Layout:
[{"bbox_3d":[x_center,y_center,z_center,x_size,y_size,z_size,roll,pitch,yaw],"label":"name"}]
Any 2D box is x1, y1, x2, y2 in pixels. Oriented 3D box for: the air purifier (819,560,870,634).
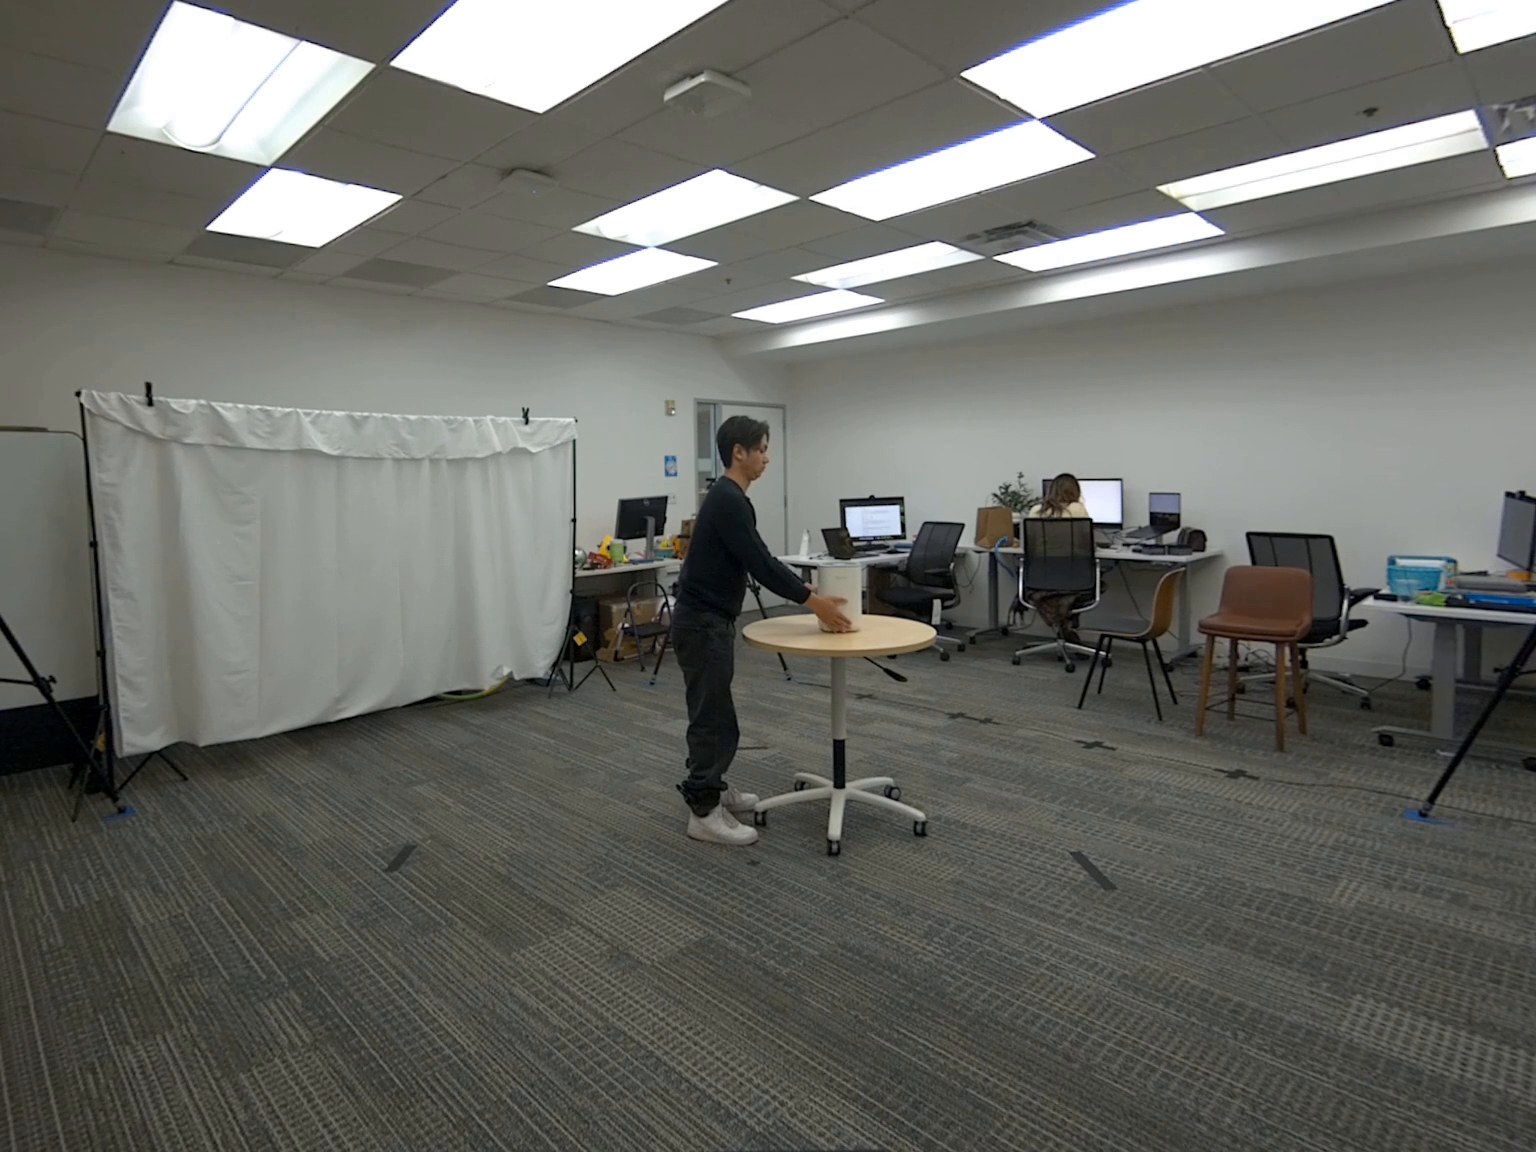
[{"bbox_3d":[0.299,0.079,3.403,0.171,0.264,0.173,-1,5,-2],"label":"air purifier"}]
